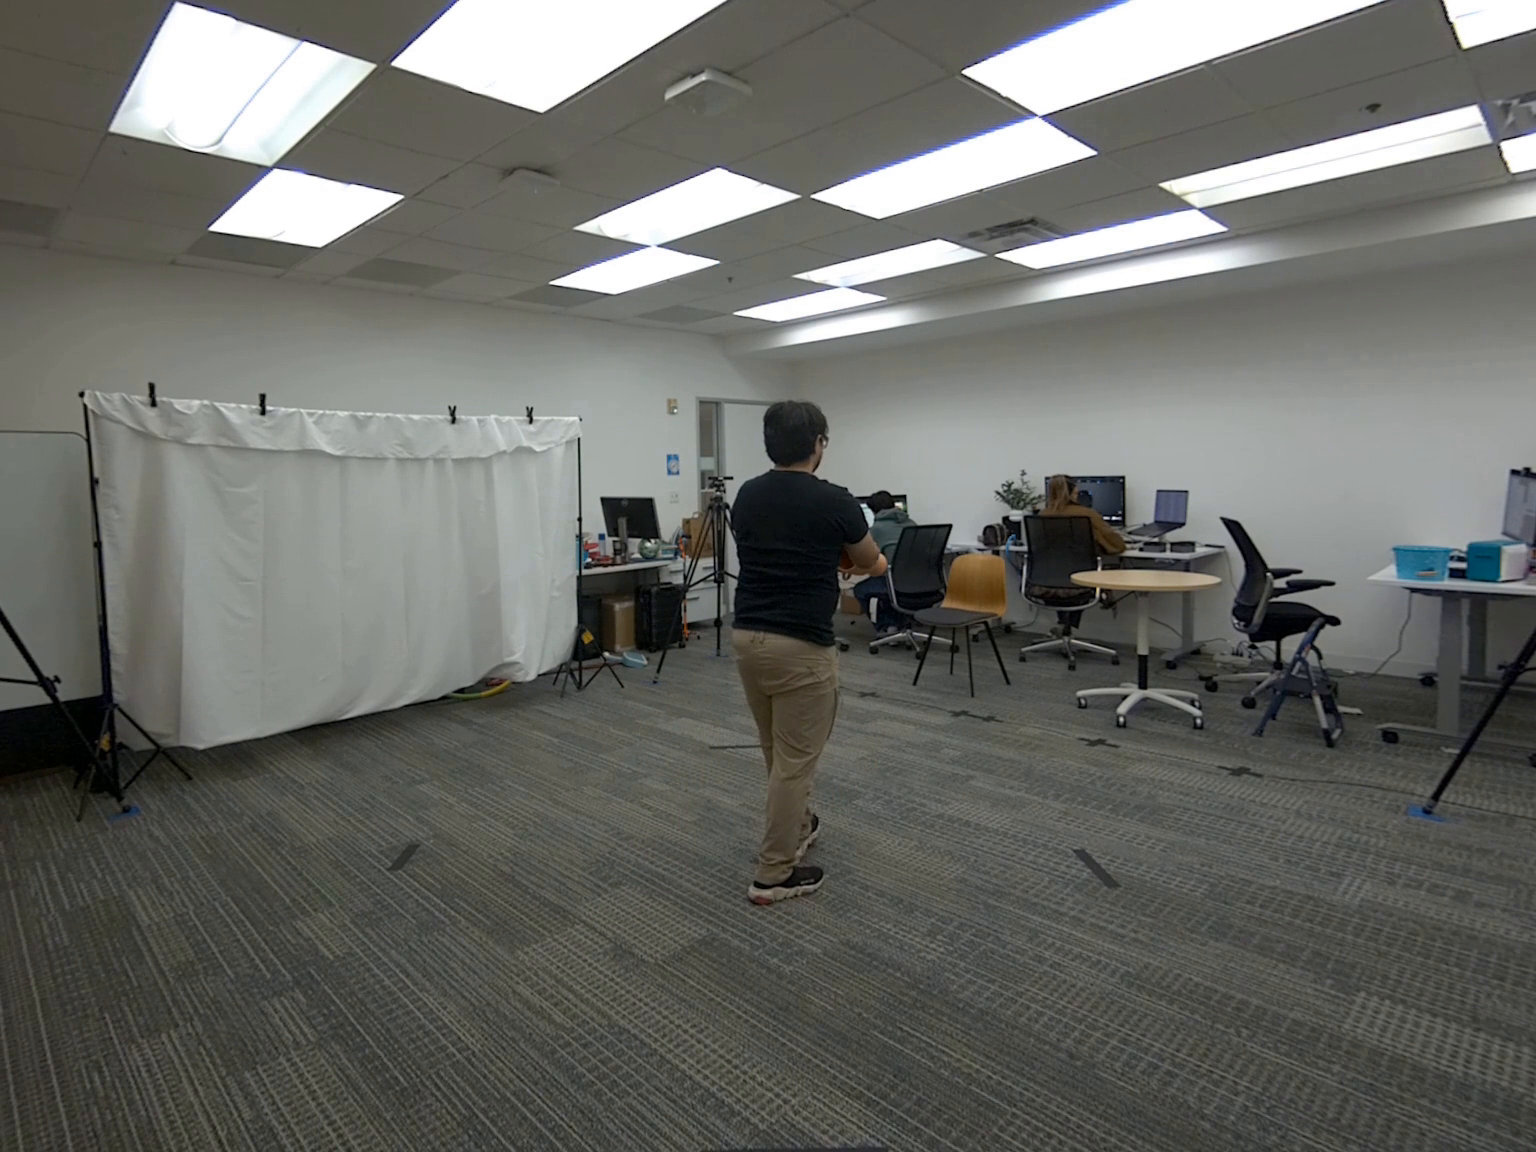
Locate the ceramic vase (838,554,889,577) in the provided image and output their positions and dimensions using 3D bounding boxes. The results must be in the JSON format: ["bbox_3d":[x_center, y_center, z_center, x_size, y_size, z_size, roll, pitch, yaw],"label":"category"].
[{"bbox_3d":[0.368,-0.063,3.337,0.160,0.138,0.212,-35,-30,27],"label":"ceramic vase"}]
